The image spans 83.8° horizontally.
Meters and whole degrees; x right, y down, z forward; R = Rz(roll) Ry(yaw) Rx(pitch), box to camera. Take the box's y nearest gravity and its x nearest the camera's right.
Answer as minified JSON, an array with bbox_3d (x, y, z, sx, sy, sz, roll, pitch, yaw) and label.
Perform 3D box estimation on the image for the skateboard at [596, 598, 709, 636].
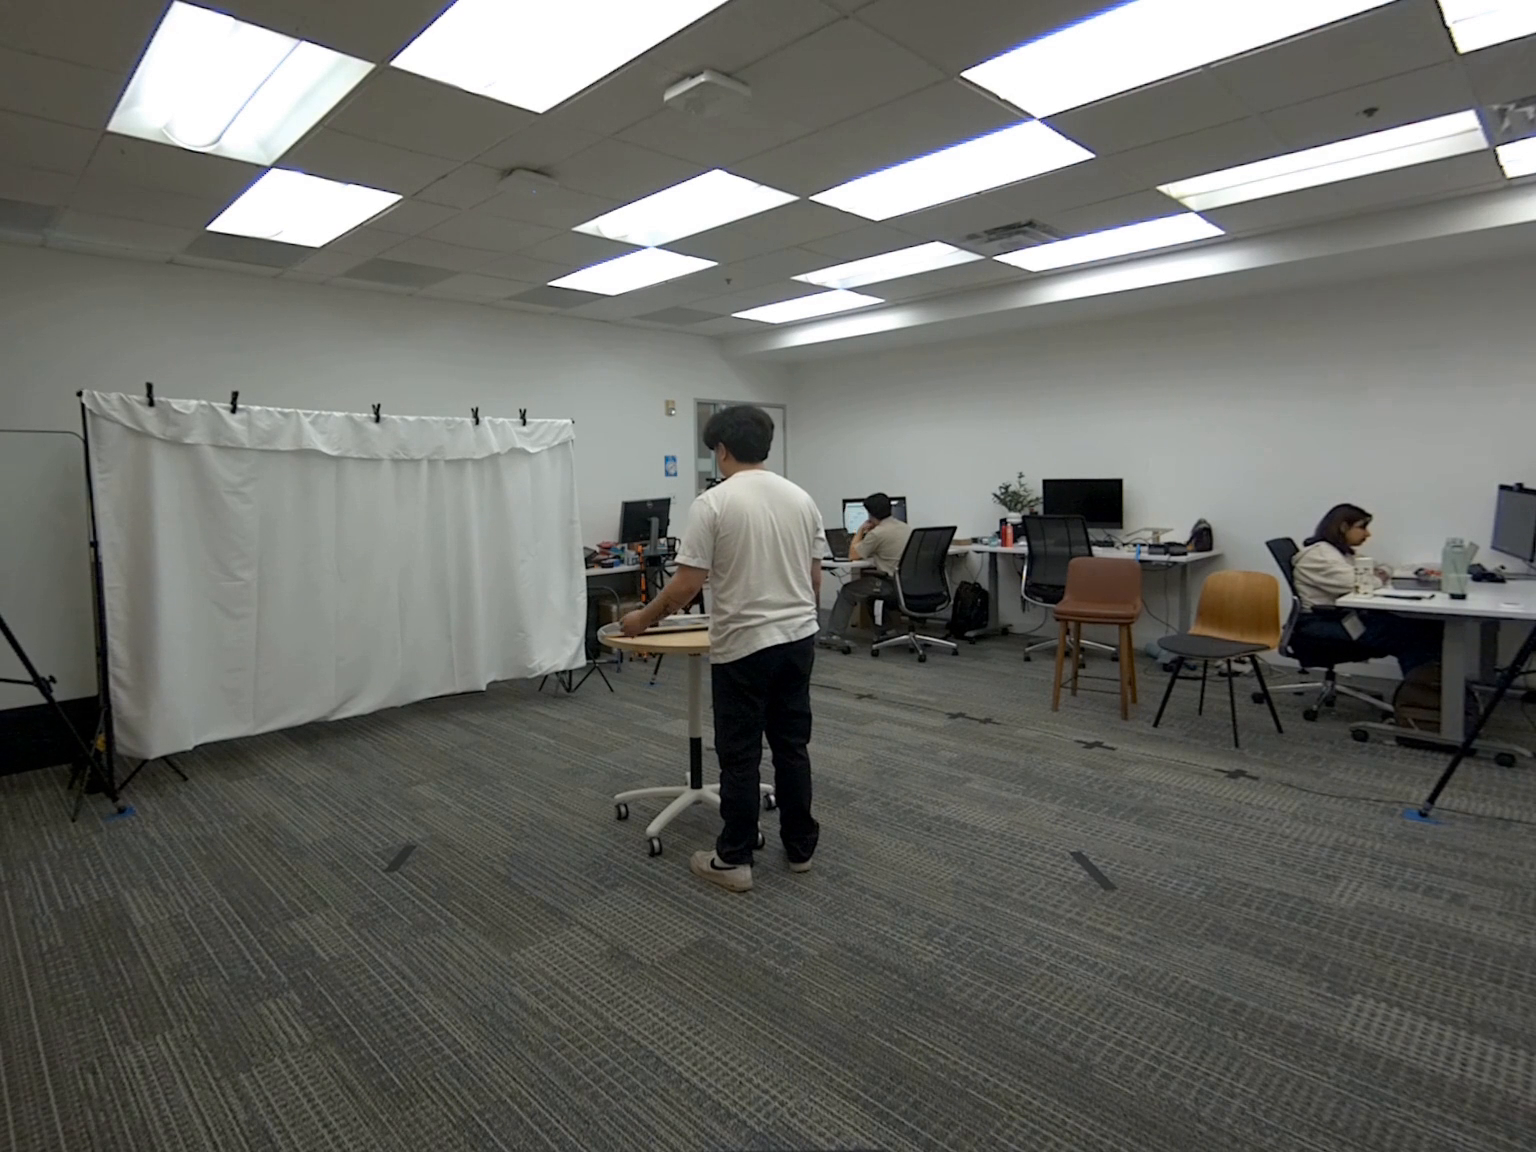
[{"bbox_3d":[-0.300,0.162,3.464,0.769,0.110,0.198,-4,5,-26],"label":"skateboard"}]
